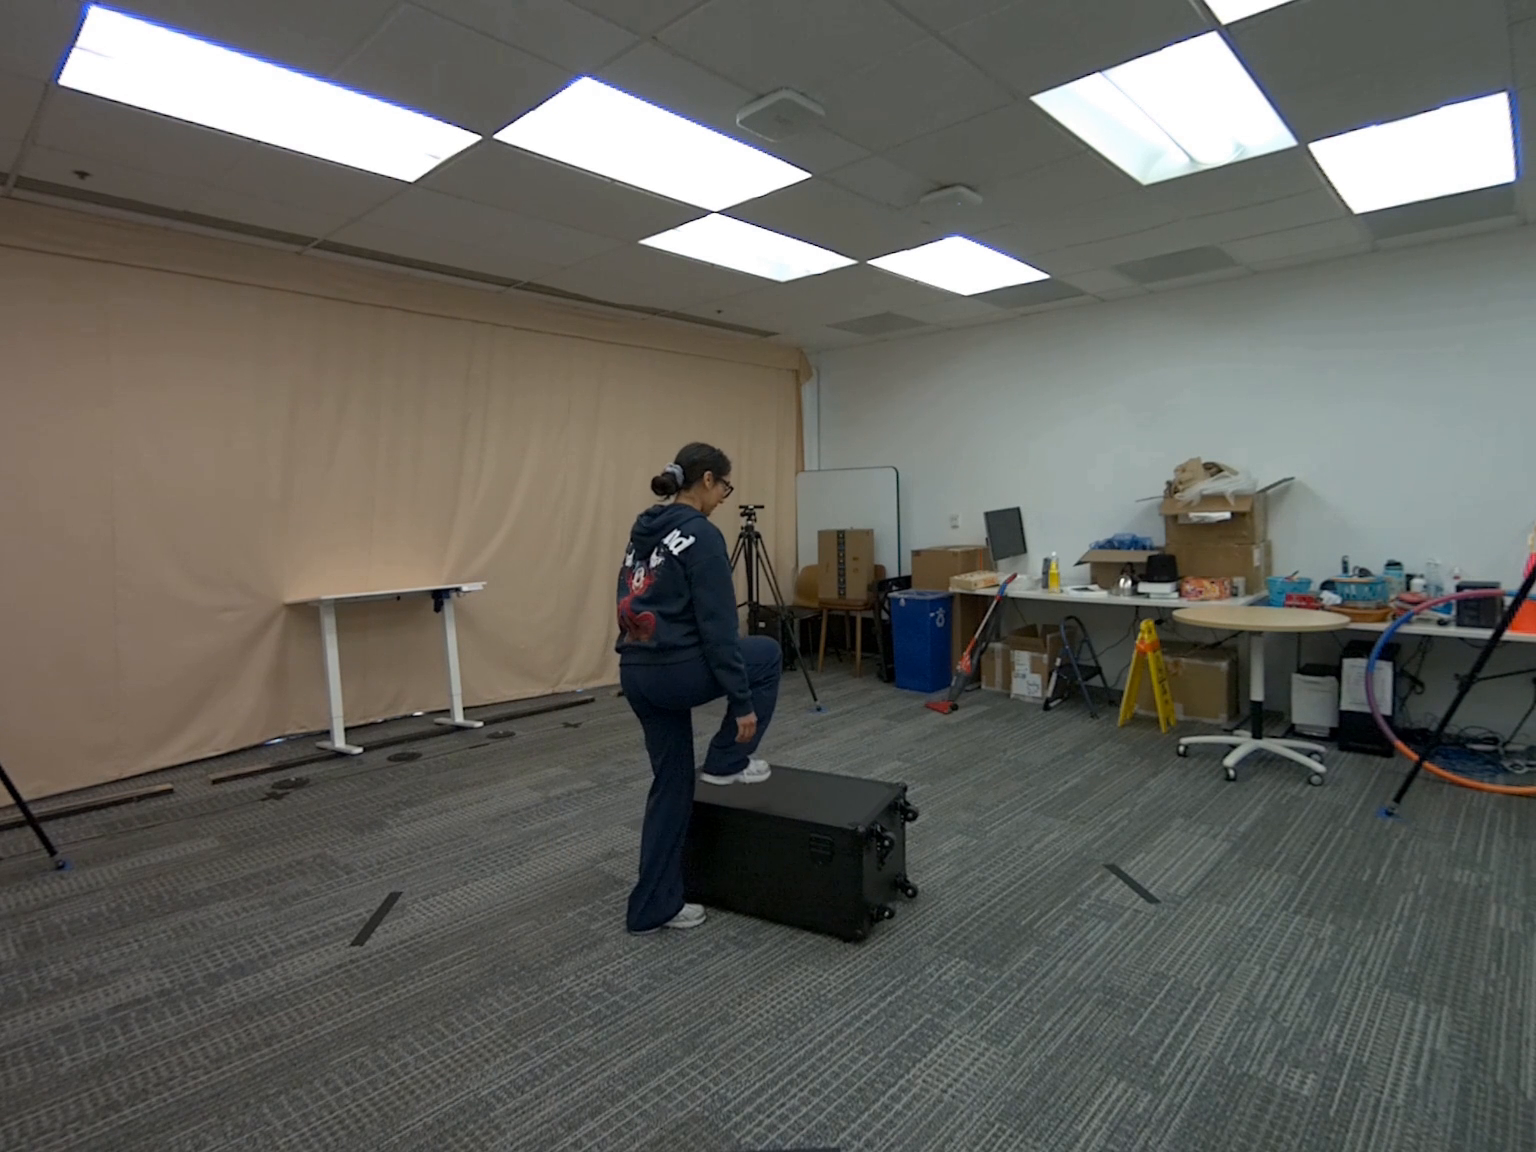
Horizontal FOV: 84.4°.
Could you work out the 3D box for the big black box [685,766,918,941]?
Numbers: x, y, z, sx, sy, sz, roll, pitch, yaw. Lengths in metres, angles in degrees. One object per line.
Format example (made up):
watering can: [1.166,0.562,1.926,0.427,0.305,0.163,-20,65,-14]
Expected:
big black box: [0.081,0.947,3.003,0.885,0.395,0.508,1,4,27]
